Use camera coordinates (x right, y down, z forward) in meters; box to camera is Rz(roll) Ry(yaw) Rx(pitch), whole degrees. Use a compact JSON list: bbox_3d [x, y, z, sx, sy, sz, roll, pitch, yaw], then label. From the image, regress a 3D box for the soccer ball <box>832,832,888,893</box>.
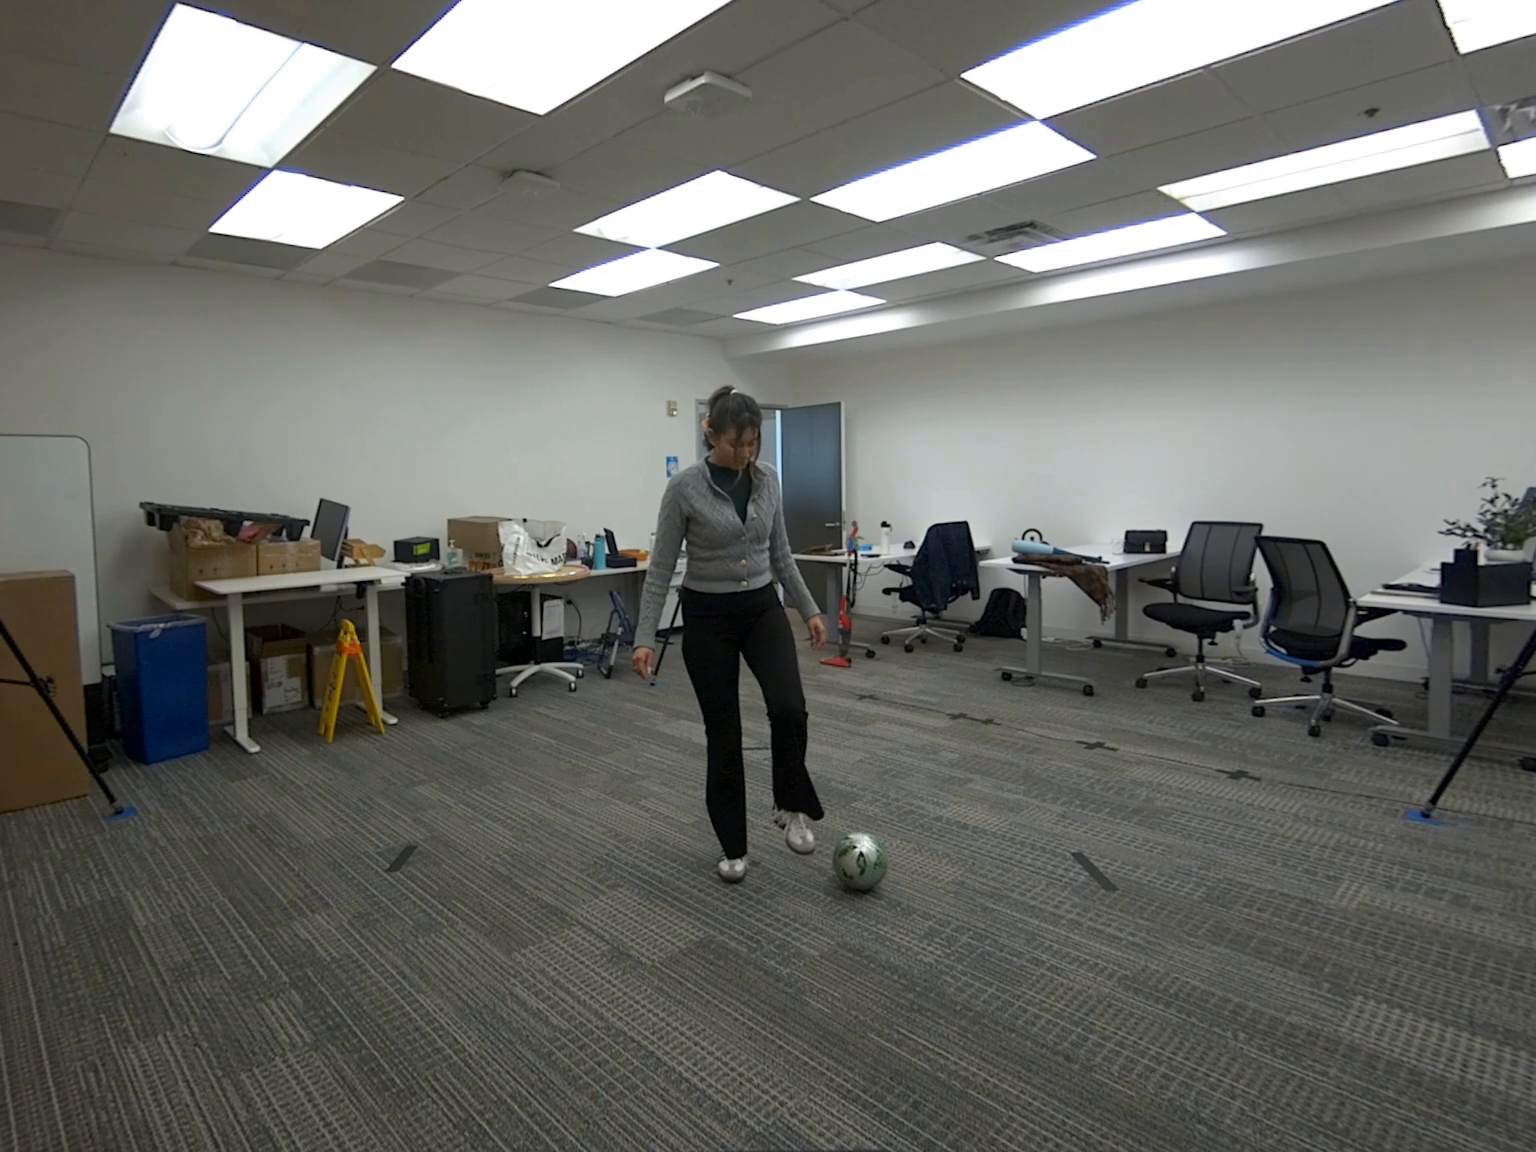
[{"bbox_3d":[0.314,0.960,2.898,0.187,0.187,0.188,-1,5,-2],"label":"soccer ball"}]
